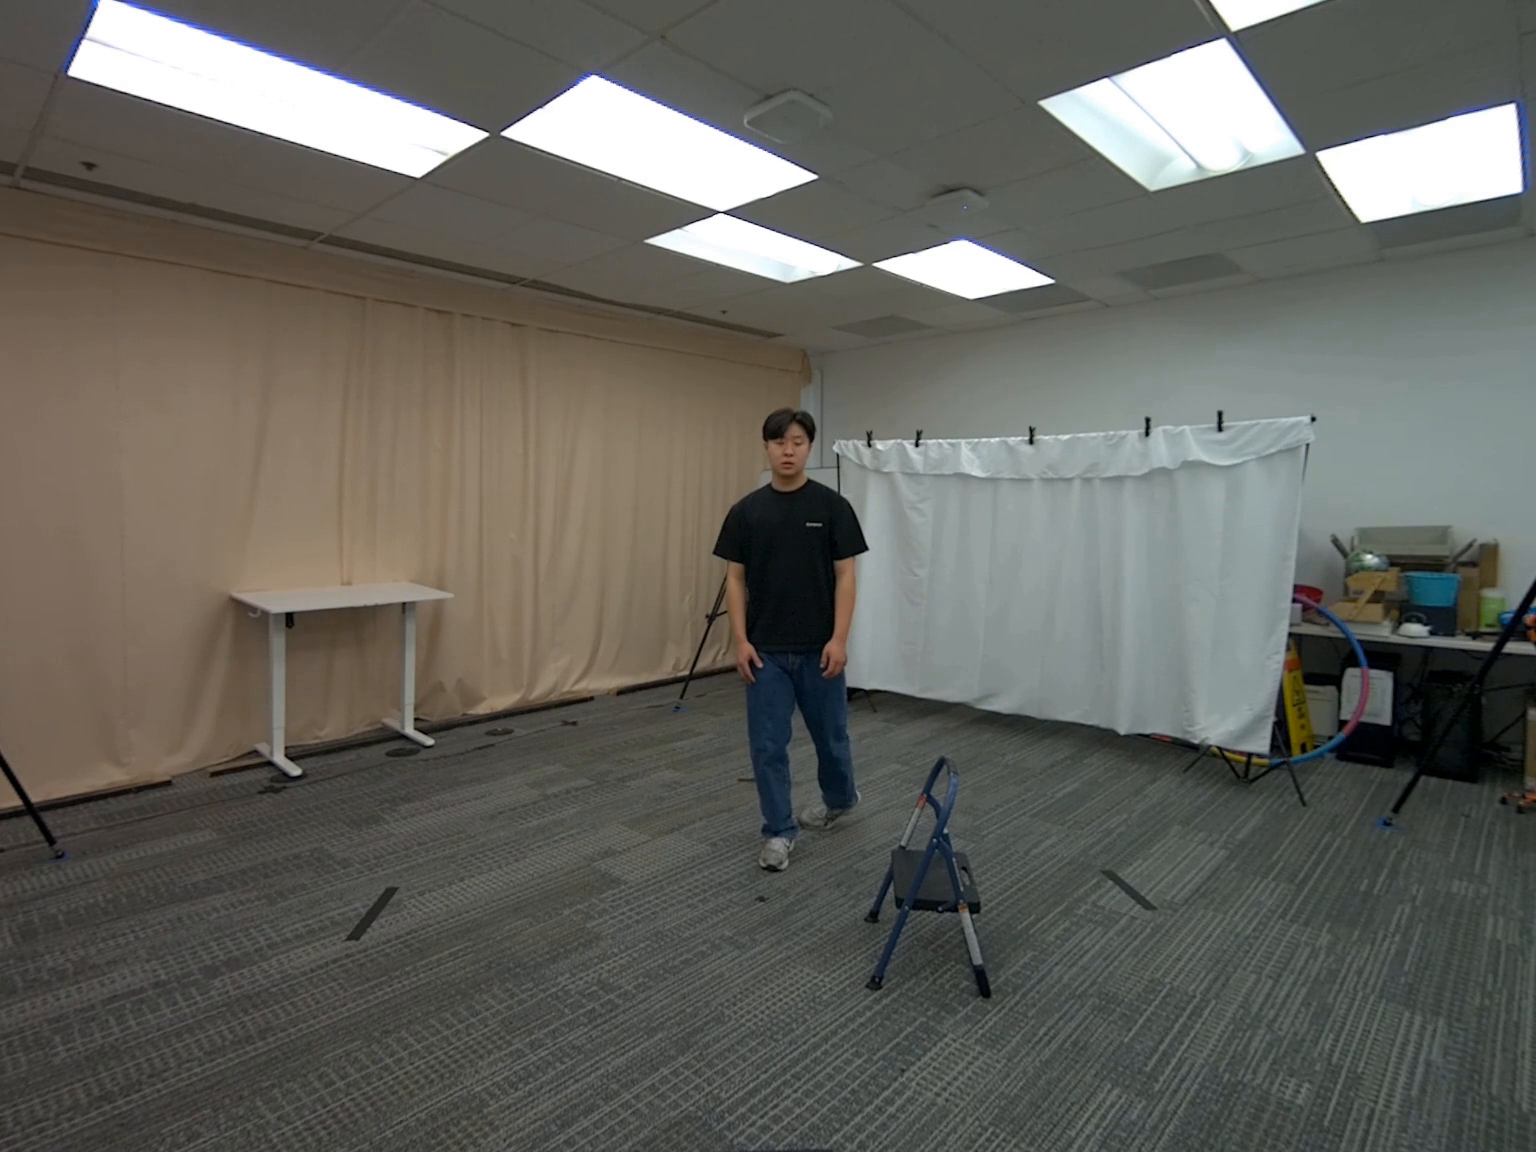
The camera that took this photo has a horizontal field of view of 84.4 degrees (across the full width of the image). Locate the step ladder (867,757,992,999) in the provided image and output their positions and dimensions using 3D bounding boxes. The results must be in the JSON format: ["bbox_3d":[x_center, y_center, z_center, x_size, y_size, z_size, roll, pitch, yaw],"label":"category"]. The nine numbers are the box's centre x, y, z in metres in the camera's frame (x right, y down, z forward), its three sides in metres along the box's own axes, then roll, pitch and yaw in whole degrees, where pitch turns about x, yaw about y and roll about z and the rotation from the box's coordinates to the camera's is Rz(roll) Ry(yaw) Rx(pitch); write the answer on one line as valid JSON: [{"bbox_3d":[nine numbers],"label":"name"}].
[{"bbox_3d":[0.488,0.875,2.585,0.352,0.604,0.428,0,4,7],"label":"step ladder"}]
